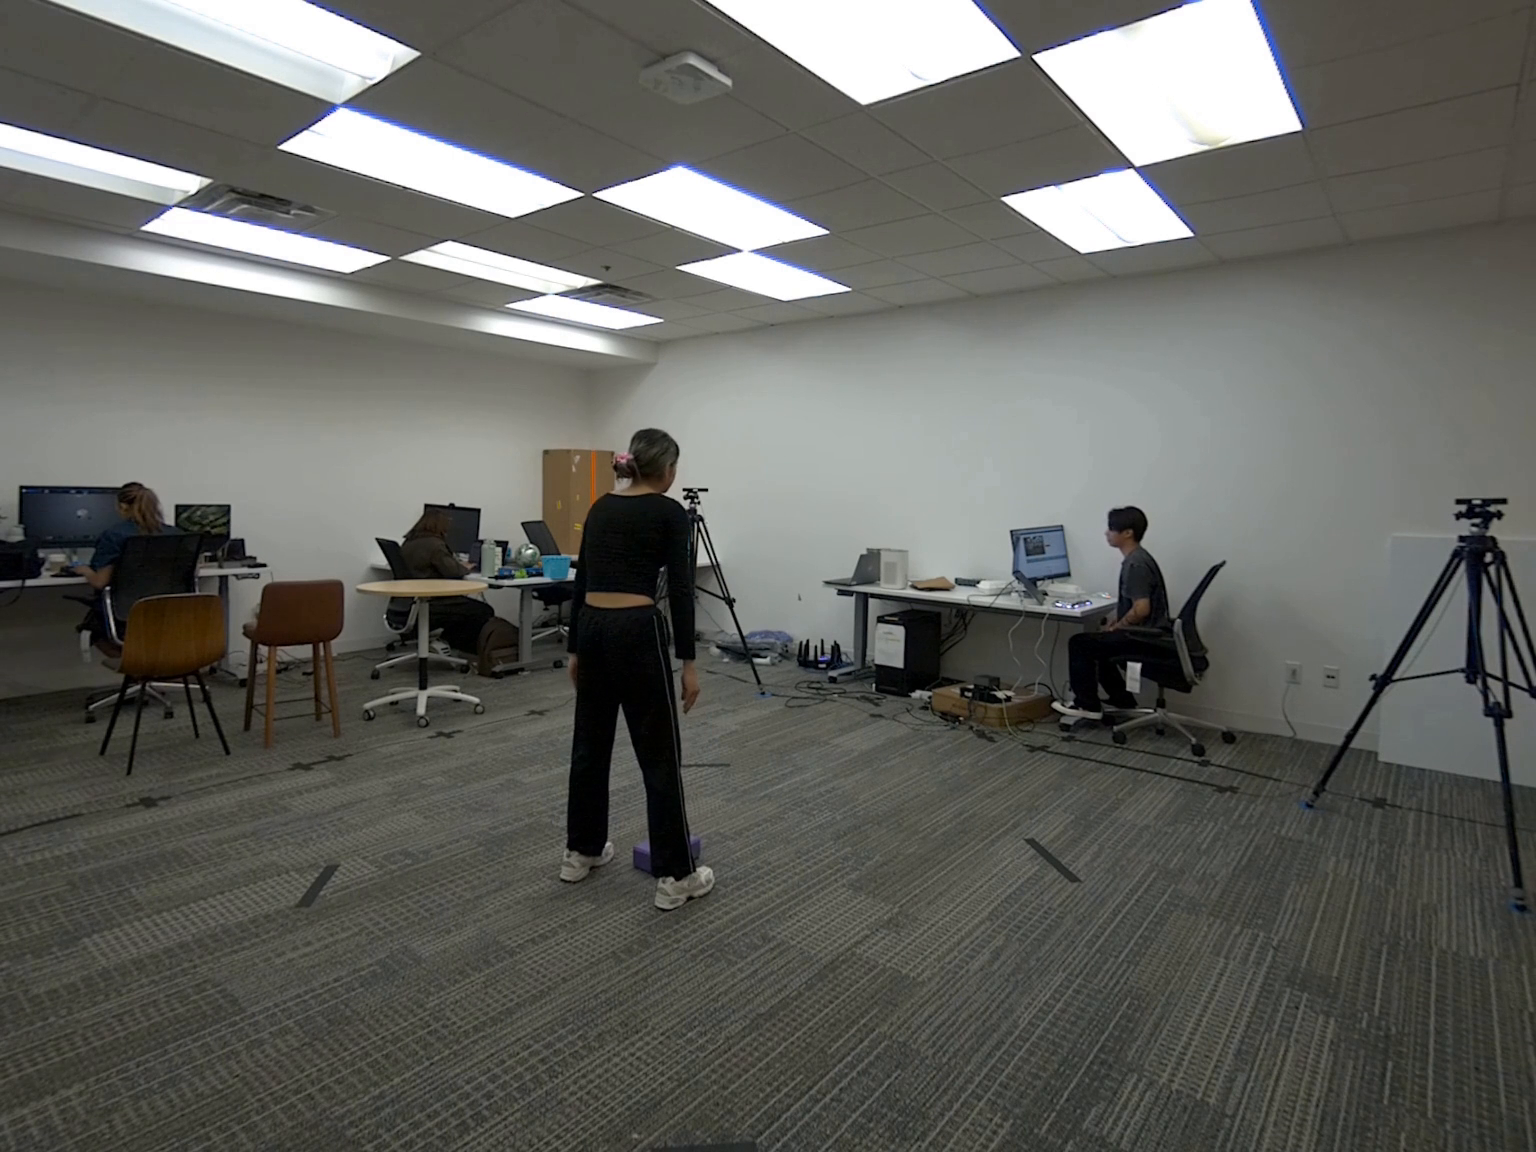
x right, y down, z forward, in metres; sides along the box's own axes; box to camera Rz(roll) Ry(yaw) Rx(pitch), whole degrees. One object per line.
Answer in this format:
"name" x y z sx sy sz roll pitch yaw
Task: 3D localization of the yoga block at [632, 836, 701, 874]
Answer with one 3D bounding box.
"yoga block" -0.385 1.019 3.162 0.154 0.076 0.223 3 4 35
